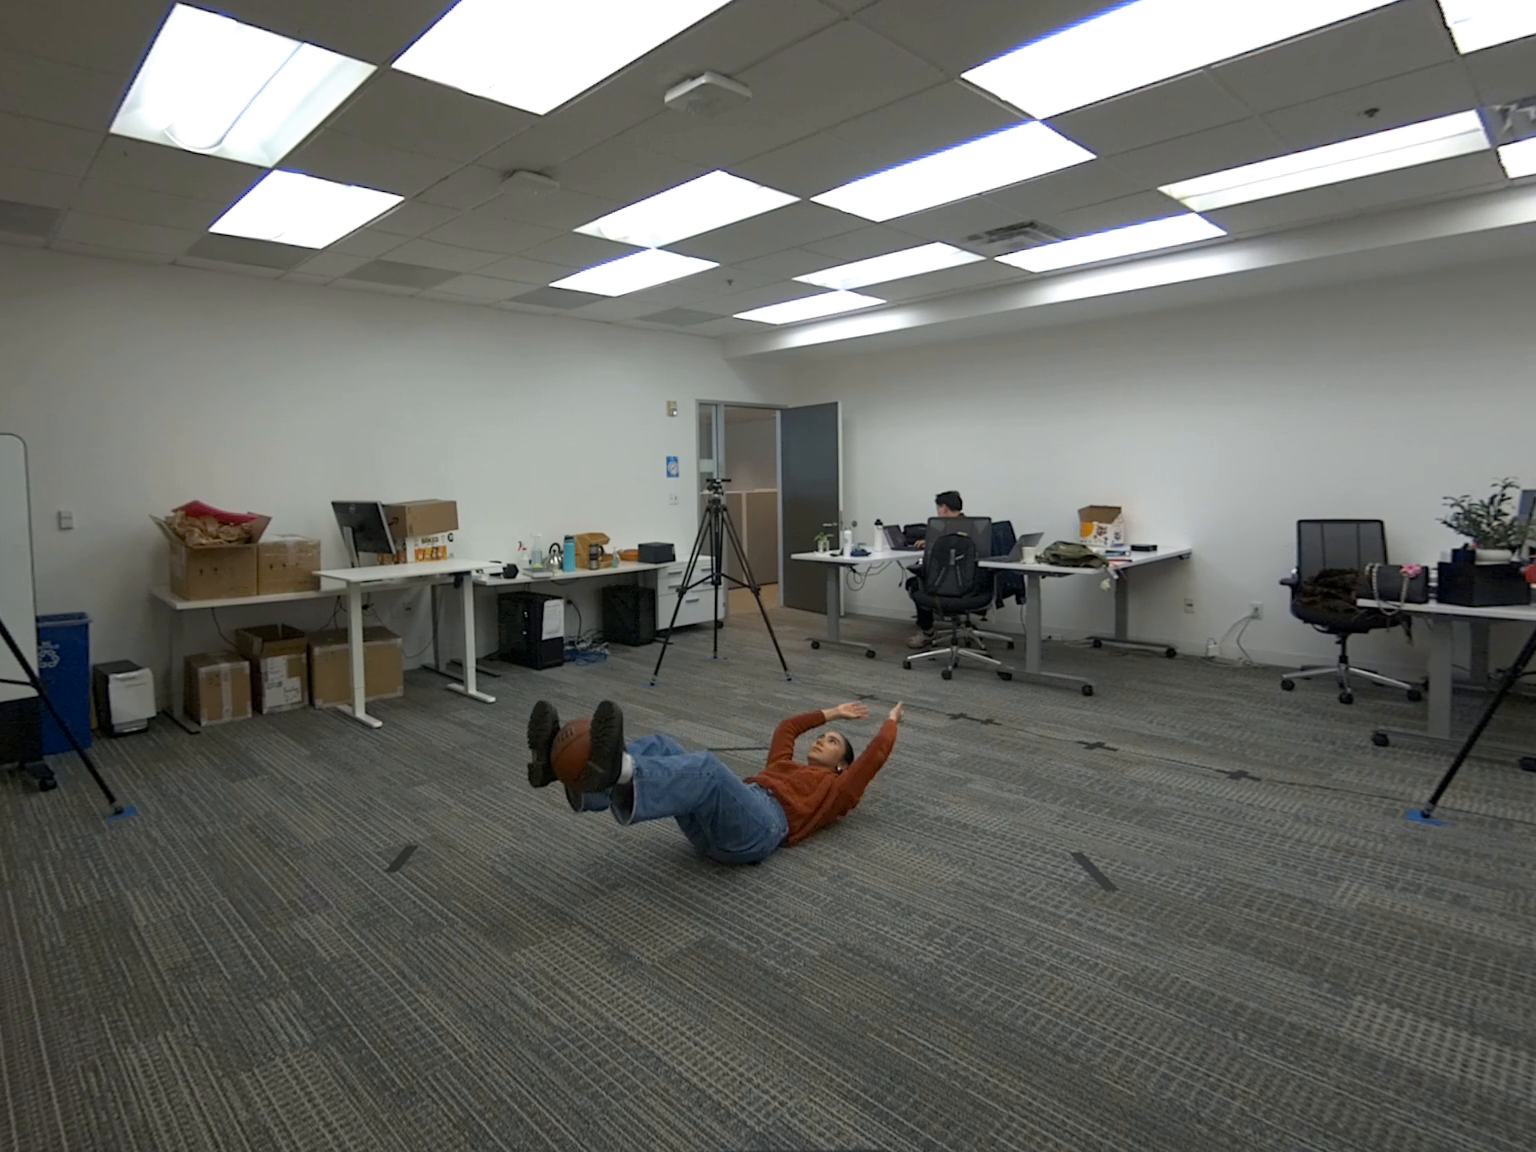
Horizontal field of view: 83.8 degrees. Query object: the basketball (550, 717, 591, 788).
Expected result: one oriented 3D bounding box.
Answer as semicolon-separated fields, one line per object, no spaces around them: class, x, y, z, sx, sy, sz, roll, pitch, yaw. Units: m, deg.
basketball;-0.553;0.554;2.694;0.236;0.236;0.236;0;1;-2
